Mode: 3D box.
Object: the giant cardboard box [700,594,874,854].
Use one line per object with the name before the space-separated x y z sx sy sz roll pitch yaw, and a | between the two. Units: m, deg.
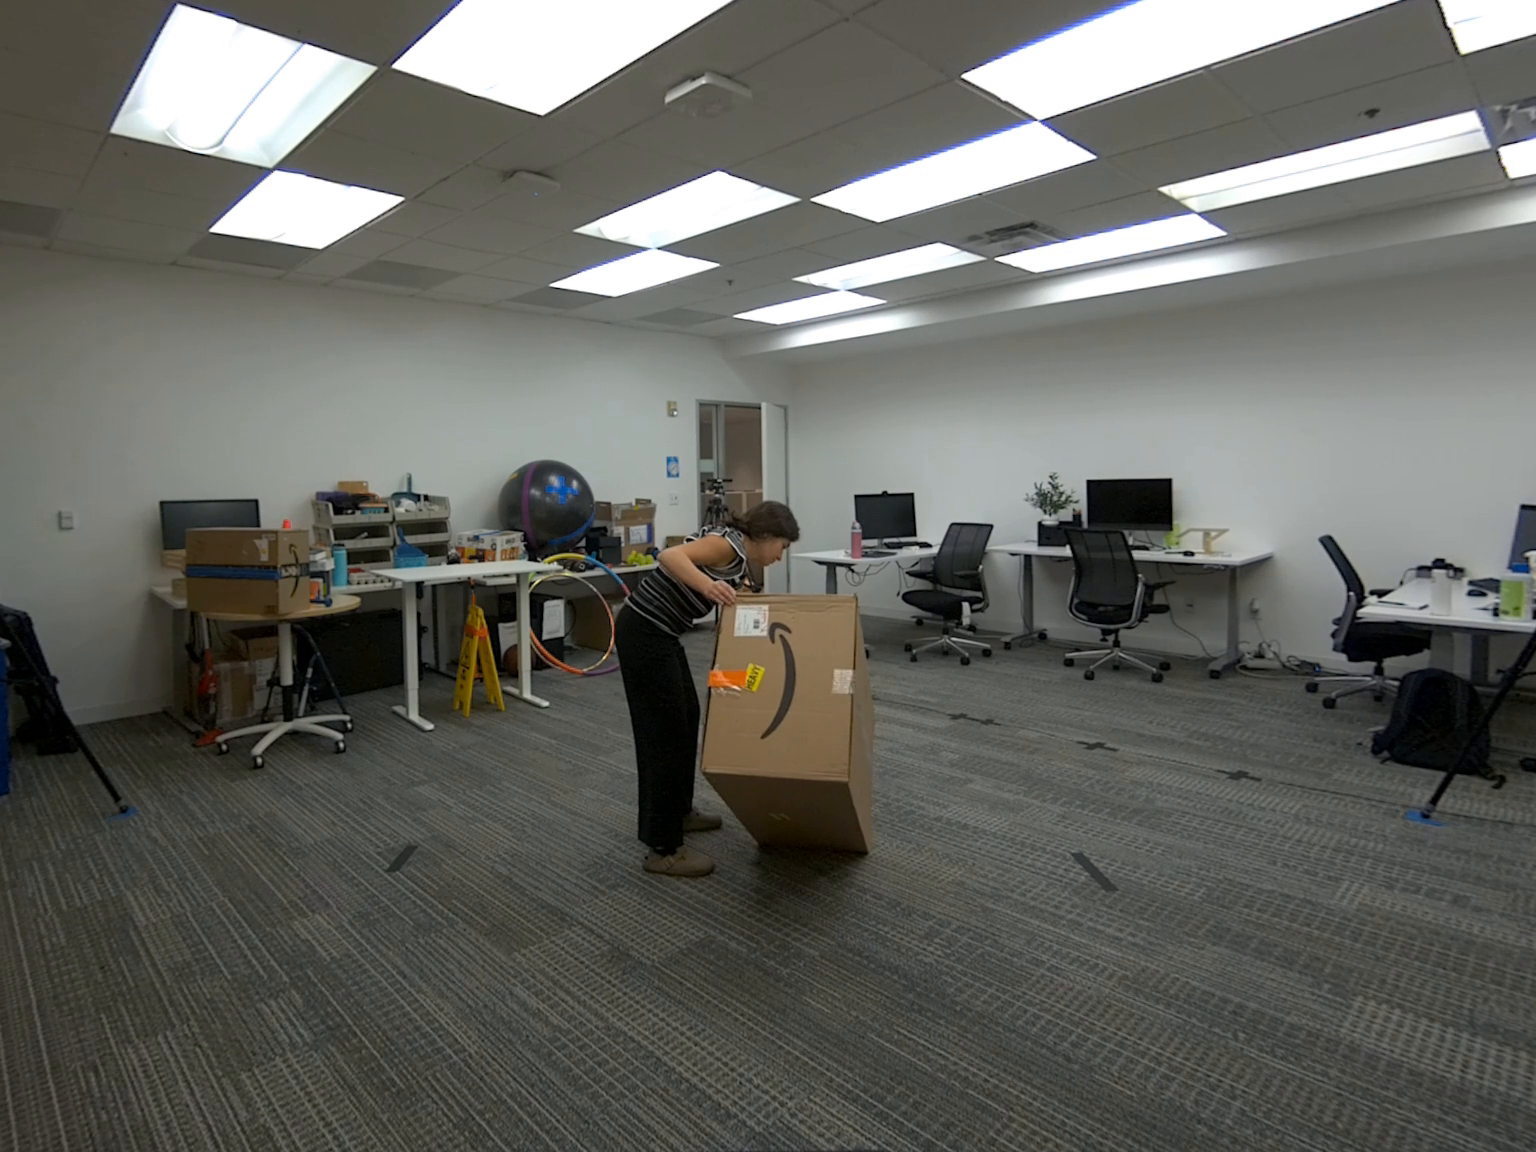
giant cardboard box | 0.118 0.545 2.940 0.431 0.589 0.994 0 -28 10
